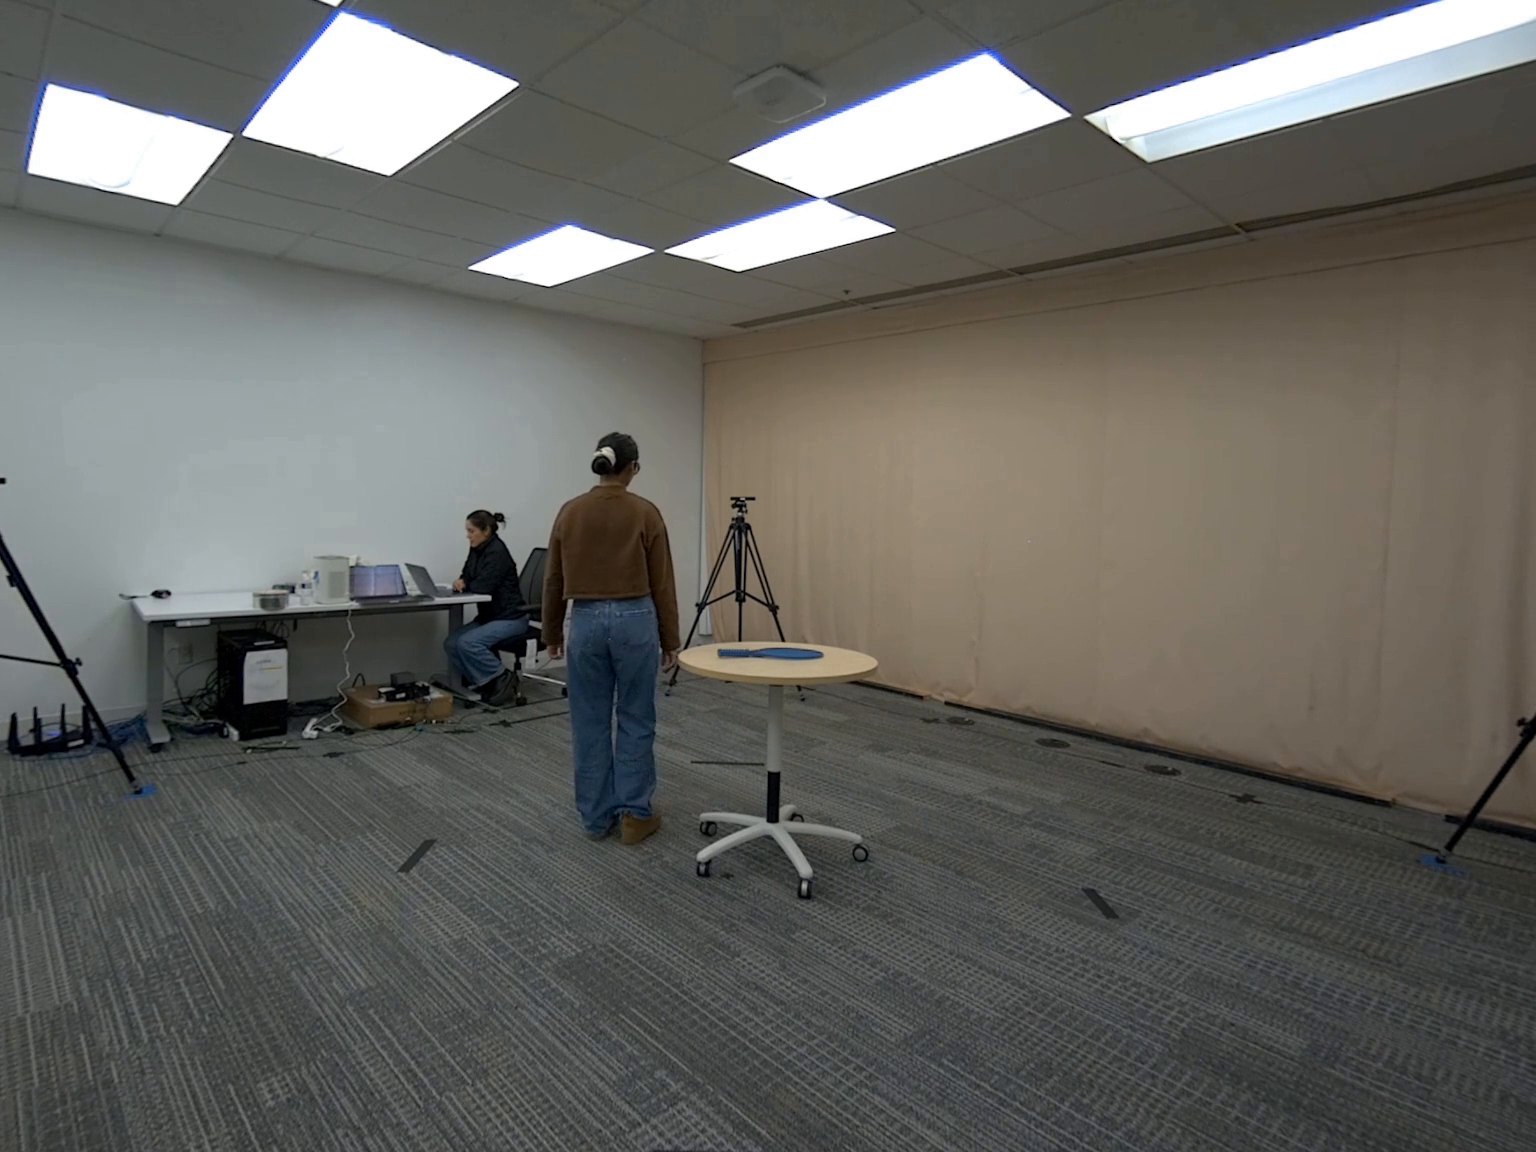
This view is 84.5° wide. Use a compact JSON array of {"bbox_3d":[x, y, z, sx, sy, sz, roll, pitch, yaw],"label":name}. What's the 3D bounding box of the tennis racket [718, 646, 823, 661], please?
[{"bbox_3d":[0.003,0.302,3.290,0.427,0.031,0.217,1,5,-18],"label":"tennis racket"}]
